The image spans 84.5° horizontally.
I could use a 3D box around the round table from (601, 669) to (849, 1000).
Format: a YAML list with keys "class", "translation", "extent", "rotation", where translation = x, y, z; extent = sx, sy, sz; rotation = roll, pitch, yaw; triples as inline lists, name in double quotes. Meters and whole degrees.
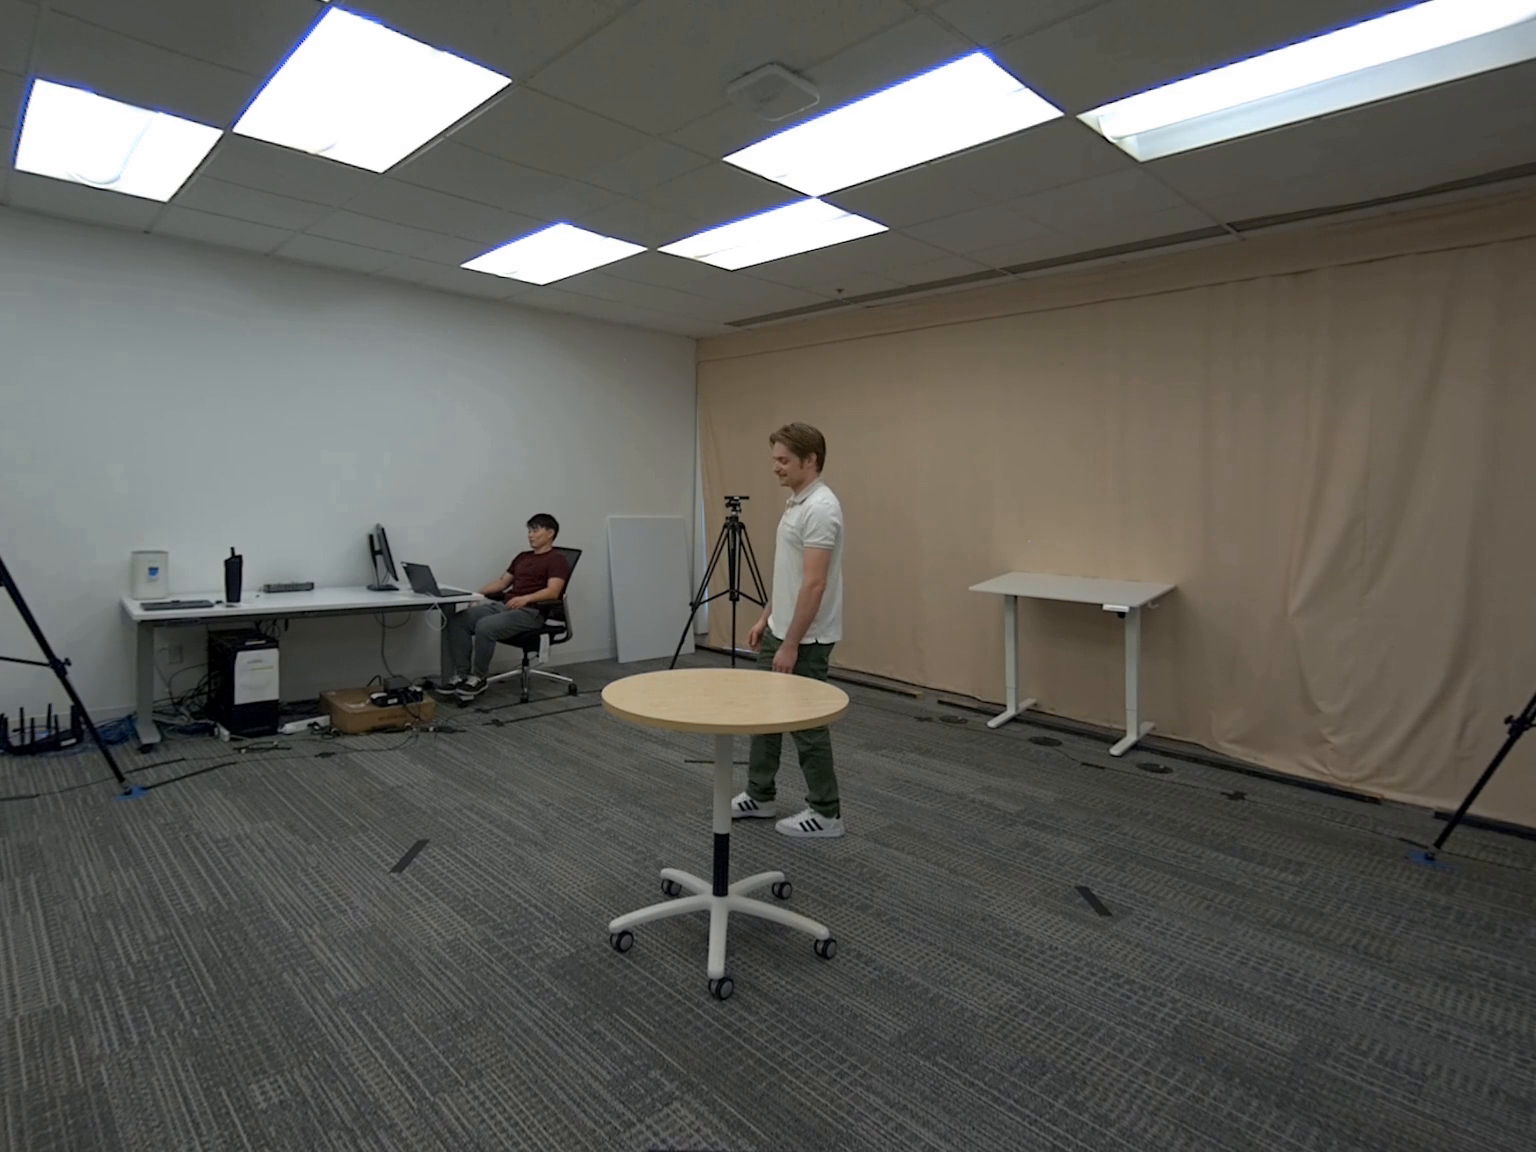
- class: "round table"
  translation: [-0.153, 0.757, 2.651]
  extent: [0.763, 0.792, 0.766]
  rotation: [1, 4, -1]
